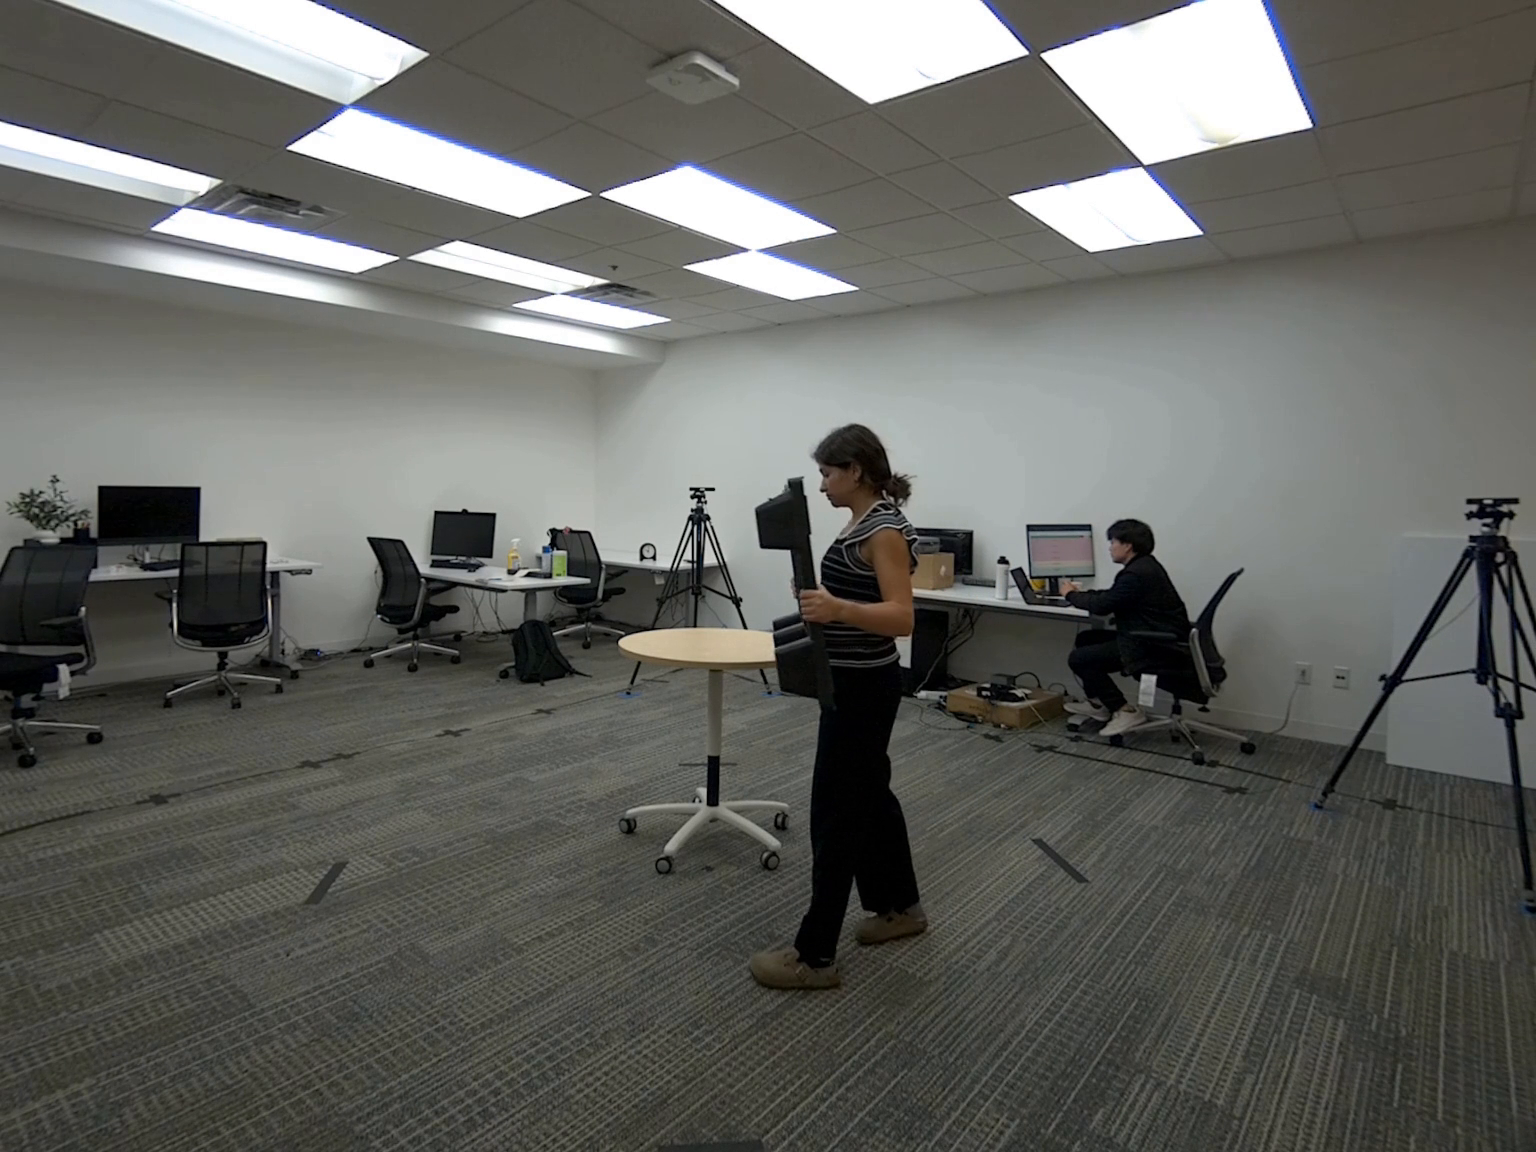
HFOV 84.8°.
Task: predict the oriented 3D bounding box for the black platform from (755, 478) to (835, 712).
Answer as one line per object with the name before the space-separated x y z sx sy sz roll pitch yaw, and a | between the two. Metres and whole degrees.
black platform | 0.048 0.024 2.524 0.143 0.605 0.805 -7 2 0
